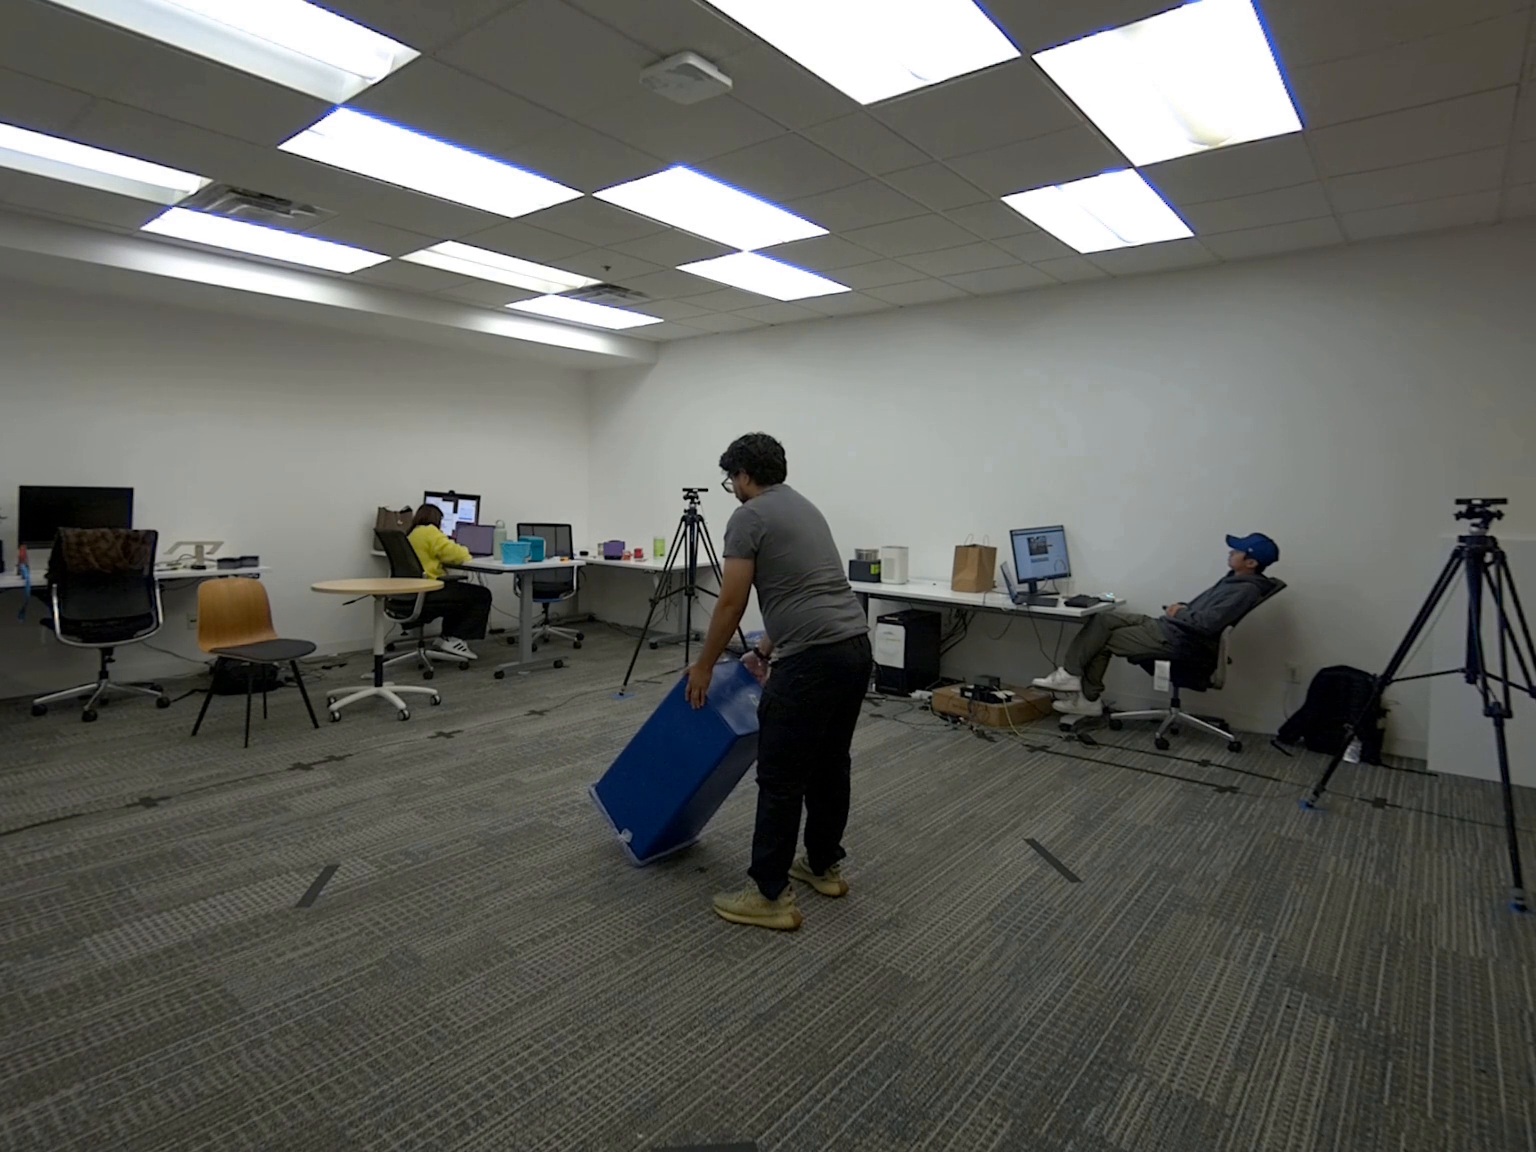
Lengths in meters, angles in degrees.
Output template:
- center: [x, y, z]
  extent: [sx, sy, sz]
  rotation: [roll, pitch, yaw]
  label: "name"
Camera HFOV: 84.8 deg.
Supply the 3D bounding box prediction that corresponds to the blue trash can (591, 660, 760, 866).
- center: [-0.301, 0.683, 3.172]
  extent: [0.363, 0.711, 0.391]
  rotation: [-3, 46, -53]
  label: "blue trash can"
